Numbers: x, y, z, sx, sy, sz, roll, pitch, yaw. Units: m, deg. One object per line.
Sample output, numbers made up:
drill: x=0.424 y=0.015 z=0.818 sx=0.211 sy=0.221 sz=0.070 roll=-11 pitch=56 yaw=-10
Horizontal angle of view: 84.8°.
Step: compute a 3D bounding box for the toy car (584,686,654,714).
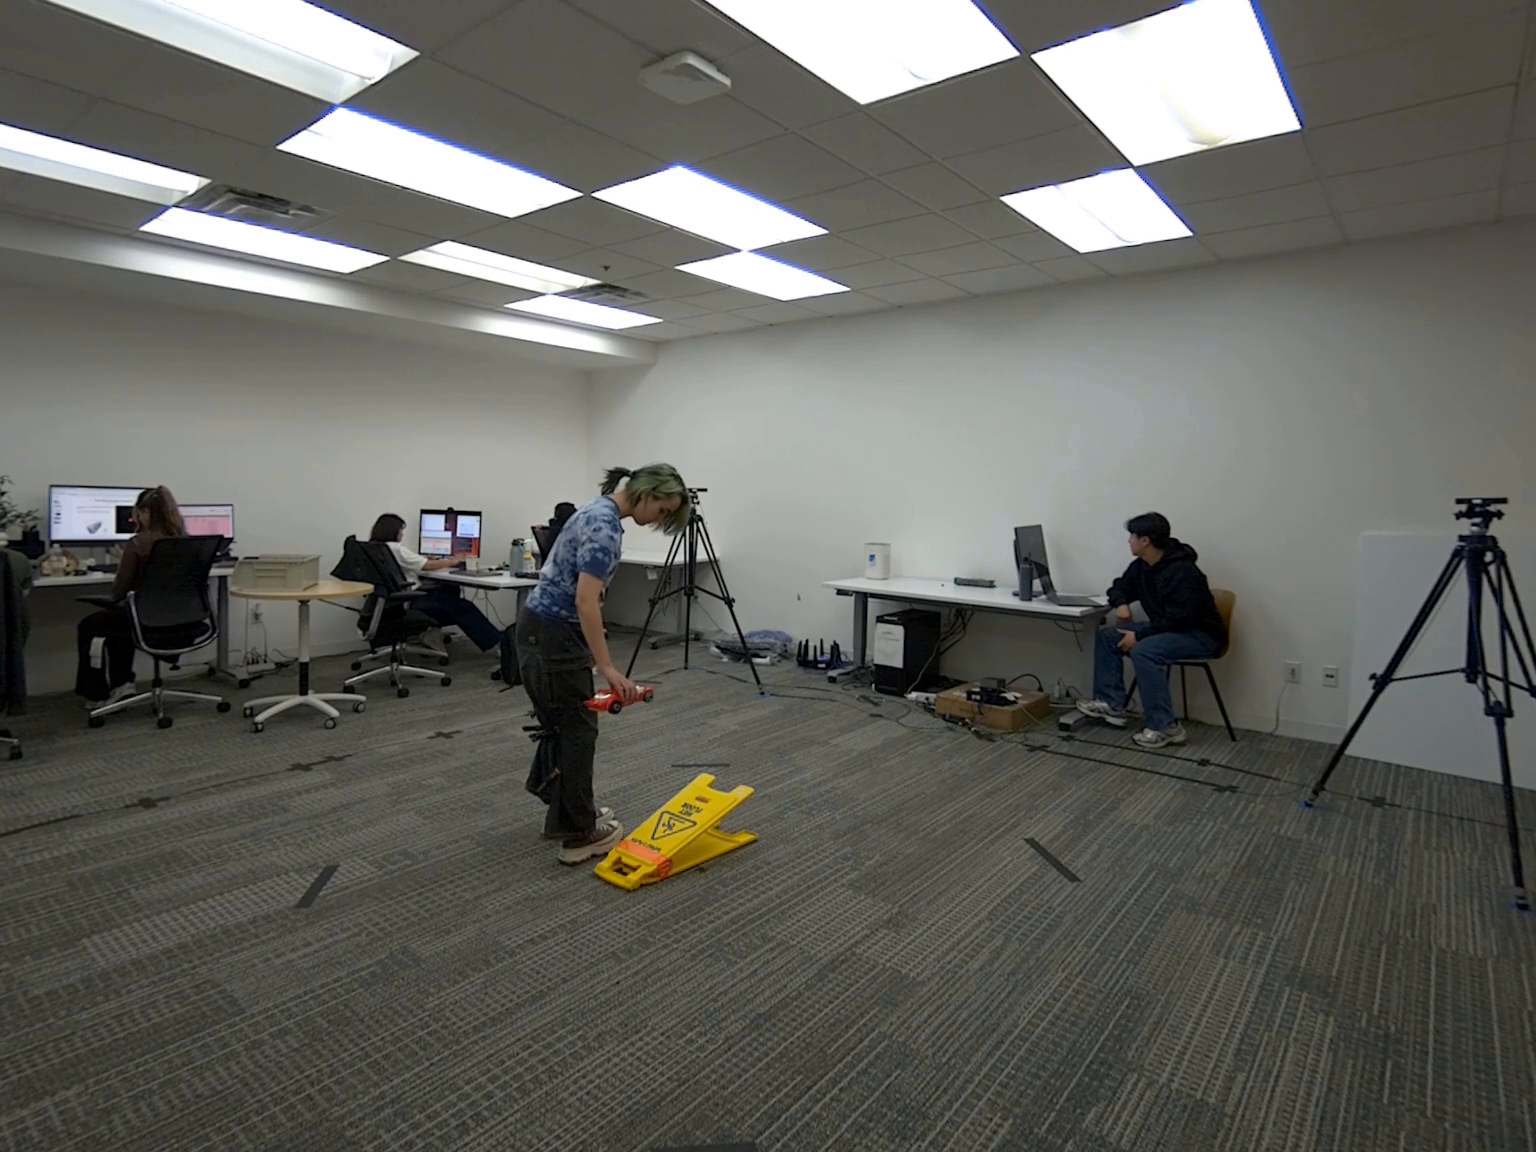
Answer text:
toy car: x=-0.545 y=0.449 z=3.014 sx=0.246 sy=0.083 sz=0.134 roll=1 pitch=-2 yaw=-42
